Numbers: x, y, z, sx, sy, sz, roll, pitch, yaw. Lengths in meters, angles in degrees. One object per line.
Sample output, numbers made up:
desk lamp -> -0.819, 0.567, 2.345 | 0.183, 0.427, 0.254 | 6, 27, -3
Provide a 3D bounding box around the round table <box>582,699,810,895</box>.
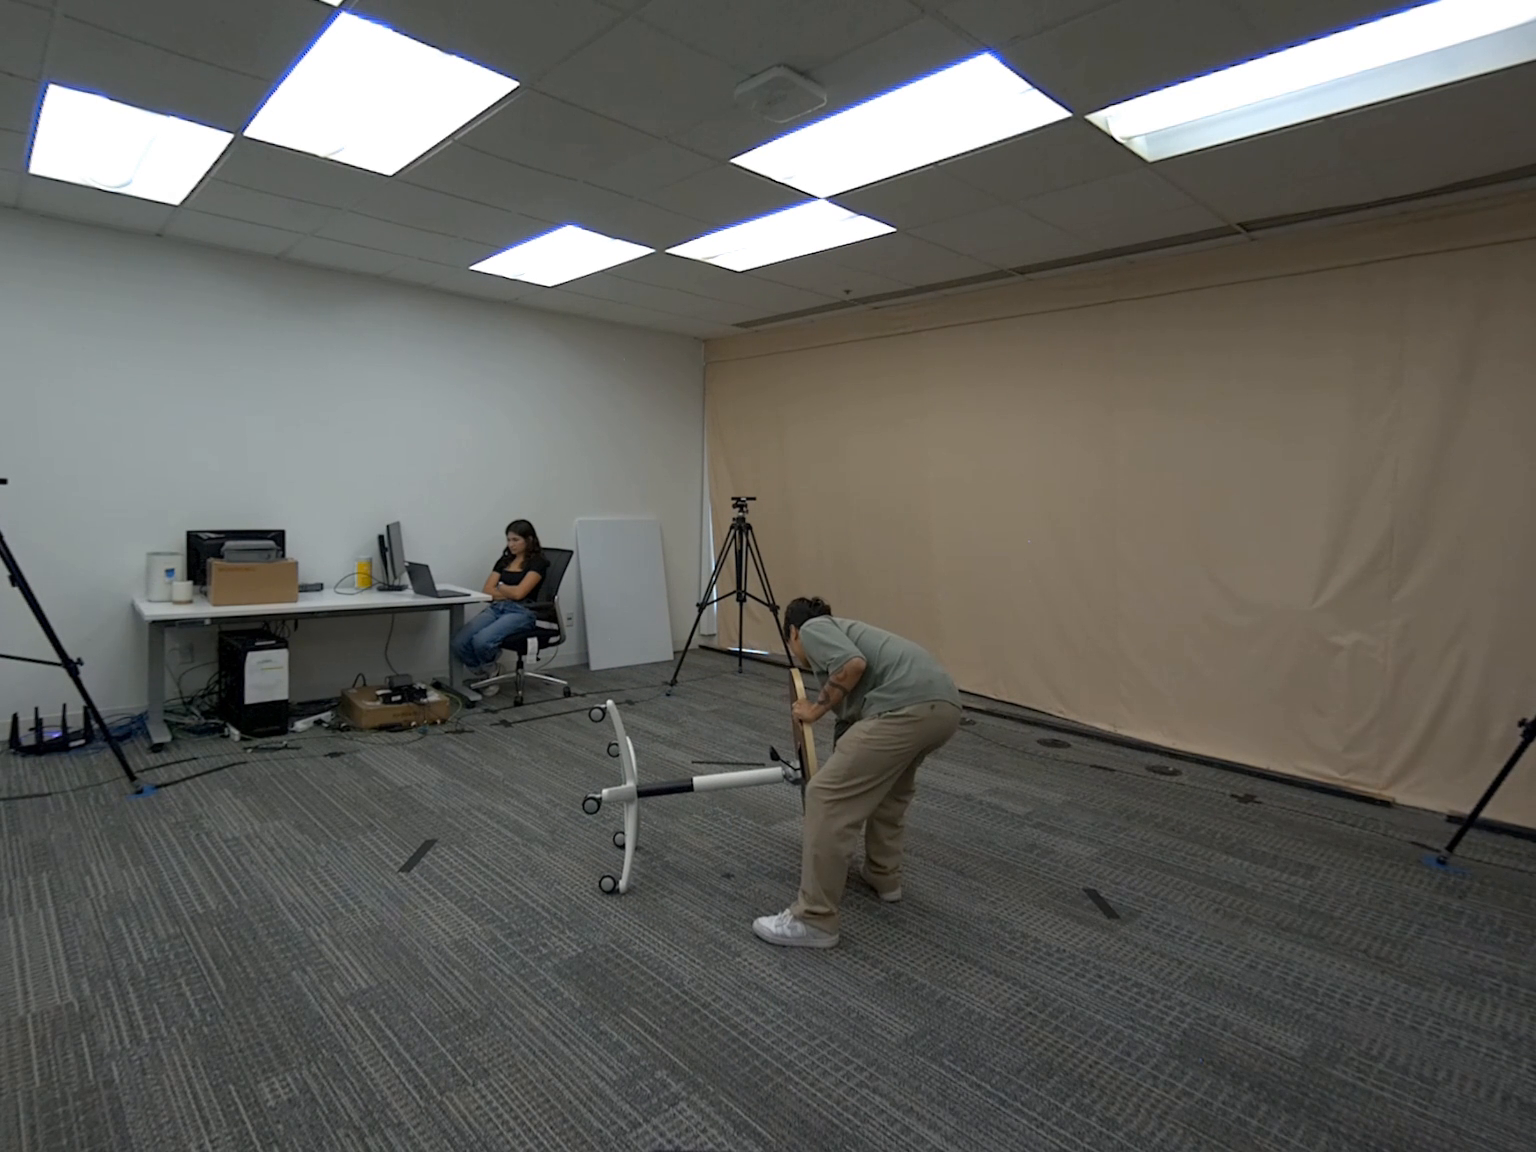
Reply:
round table -> -0.239, 0.761, 3.136 | 0.785, 0.782, 0.789 | -5, 4, -3
